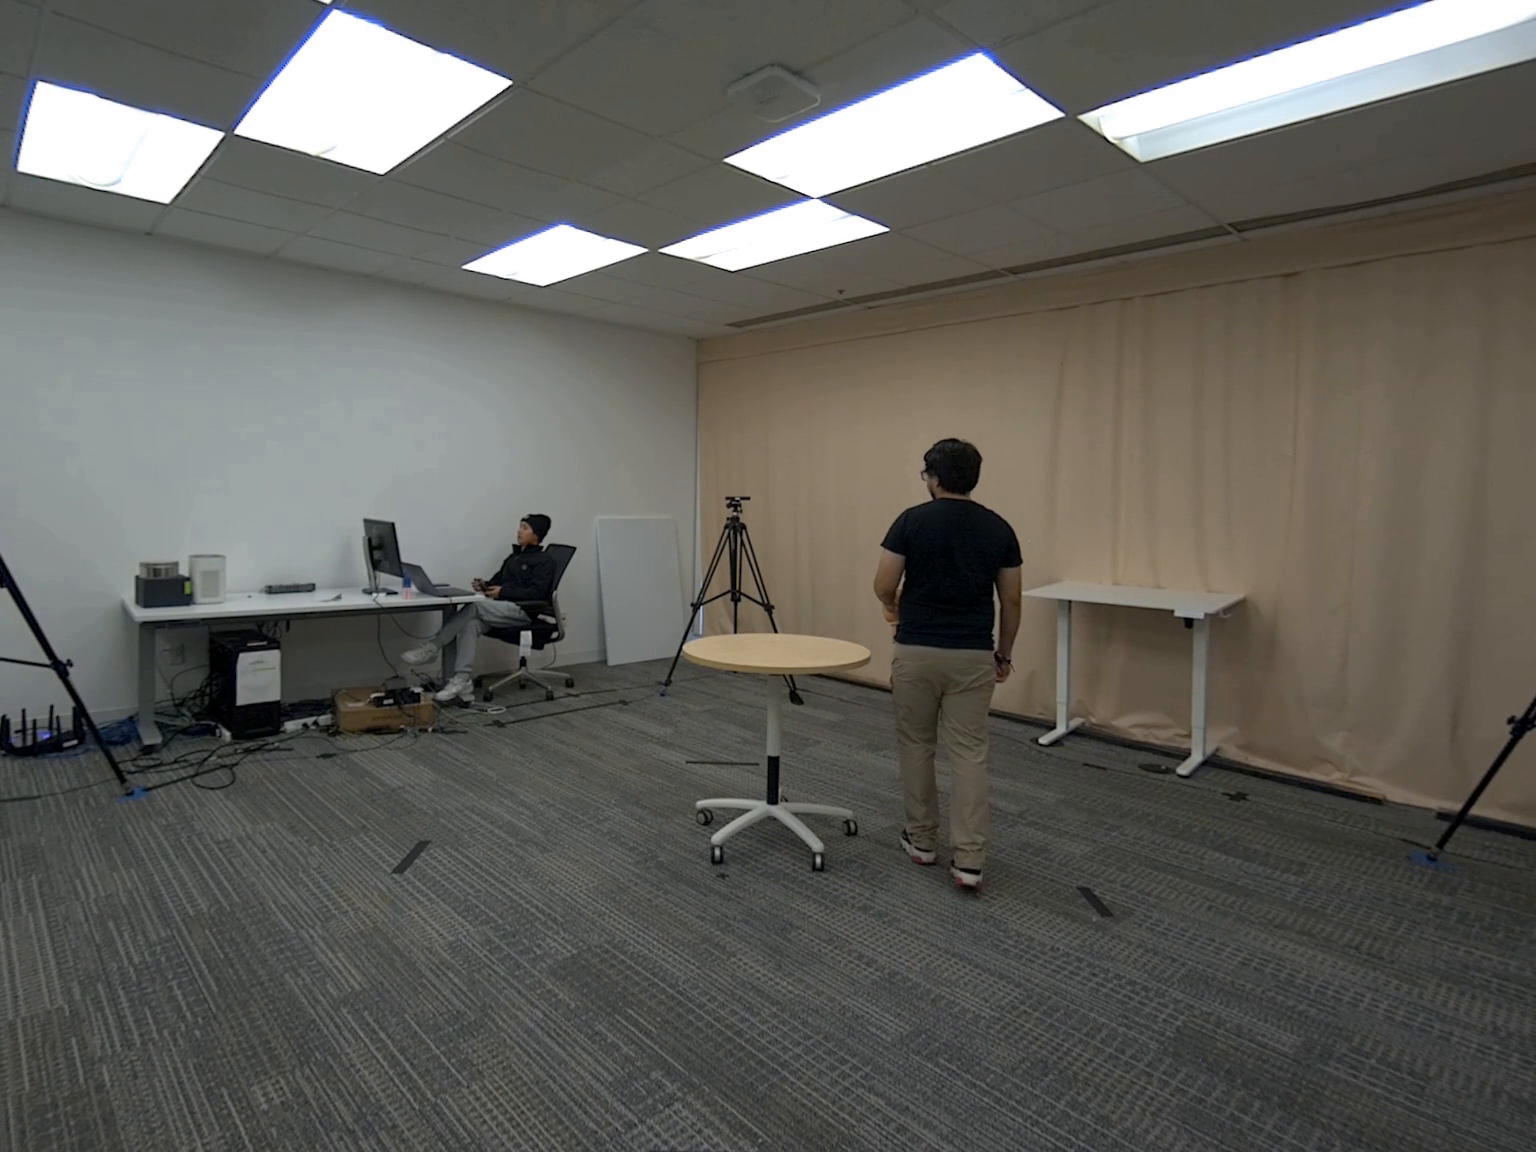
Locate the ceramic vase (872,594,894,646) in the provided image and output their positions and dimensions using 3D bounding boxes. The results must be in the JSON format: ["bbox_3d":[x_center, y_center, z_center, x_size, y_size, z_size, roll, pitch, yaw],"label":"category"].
[{"bbox_3d":[0.562,0.176,3.624,0.155,0.222,0.136,1,-13,-30],"label":"ceramic vase"}]
